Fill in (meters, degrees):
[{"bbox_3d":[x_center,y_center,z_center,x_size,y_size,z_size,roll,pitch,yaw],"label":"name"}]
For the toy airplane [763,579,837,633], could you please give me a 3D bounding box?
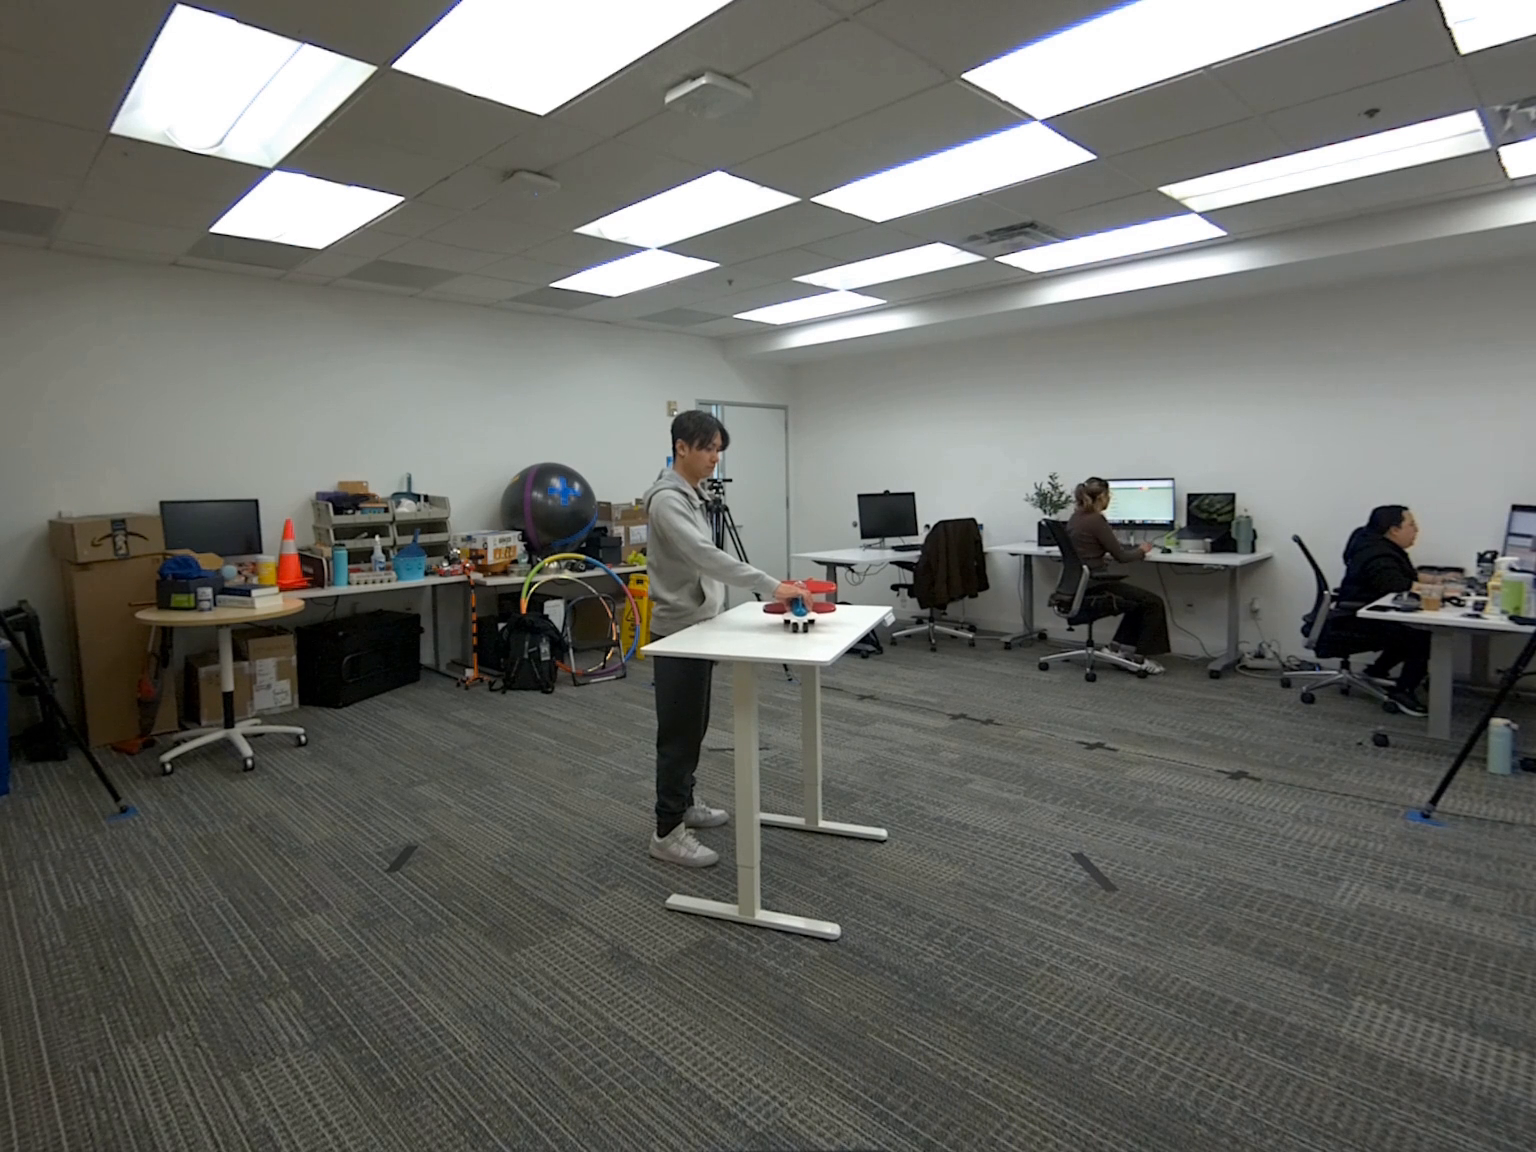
[{"bbox_3d":[0.134,0.103,2.942,0.246,0.155,0.266,-4,7,-26],"label":"toy airplane"}]
